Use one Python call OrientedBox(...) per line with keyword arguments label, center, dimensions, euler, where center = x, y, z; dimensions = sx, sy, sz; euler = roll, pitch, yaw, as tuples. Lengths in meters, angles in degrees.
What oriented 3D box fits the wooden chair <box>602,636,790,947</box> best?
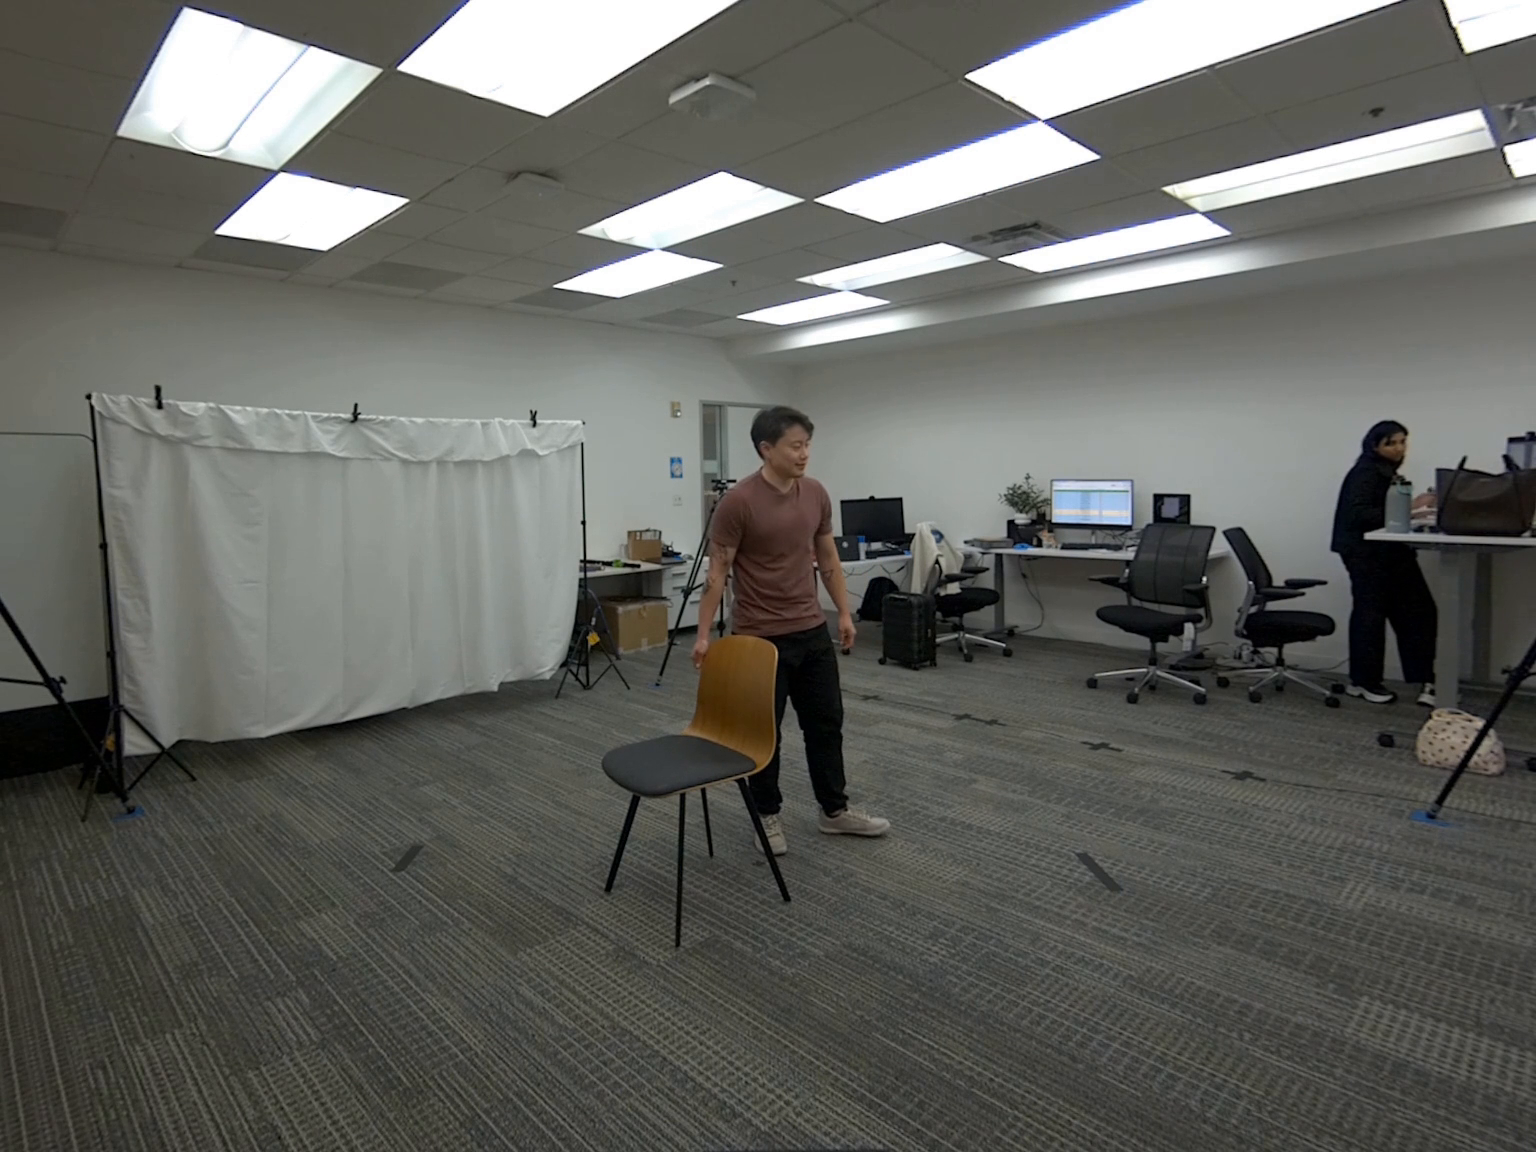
OrientedBox(label="wooden chair", center=(-0.254, 0.654, 2.832), dimensions=(0.508, 0.876, 0.492), euler=(1, 2, -38))
